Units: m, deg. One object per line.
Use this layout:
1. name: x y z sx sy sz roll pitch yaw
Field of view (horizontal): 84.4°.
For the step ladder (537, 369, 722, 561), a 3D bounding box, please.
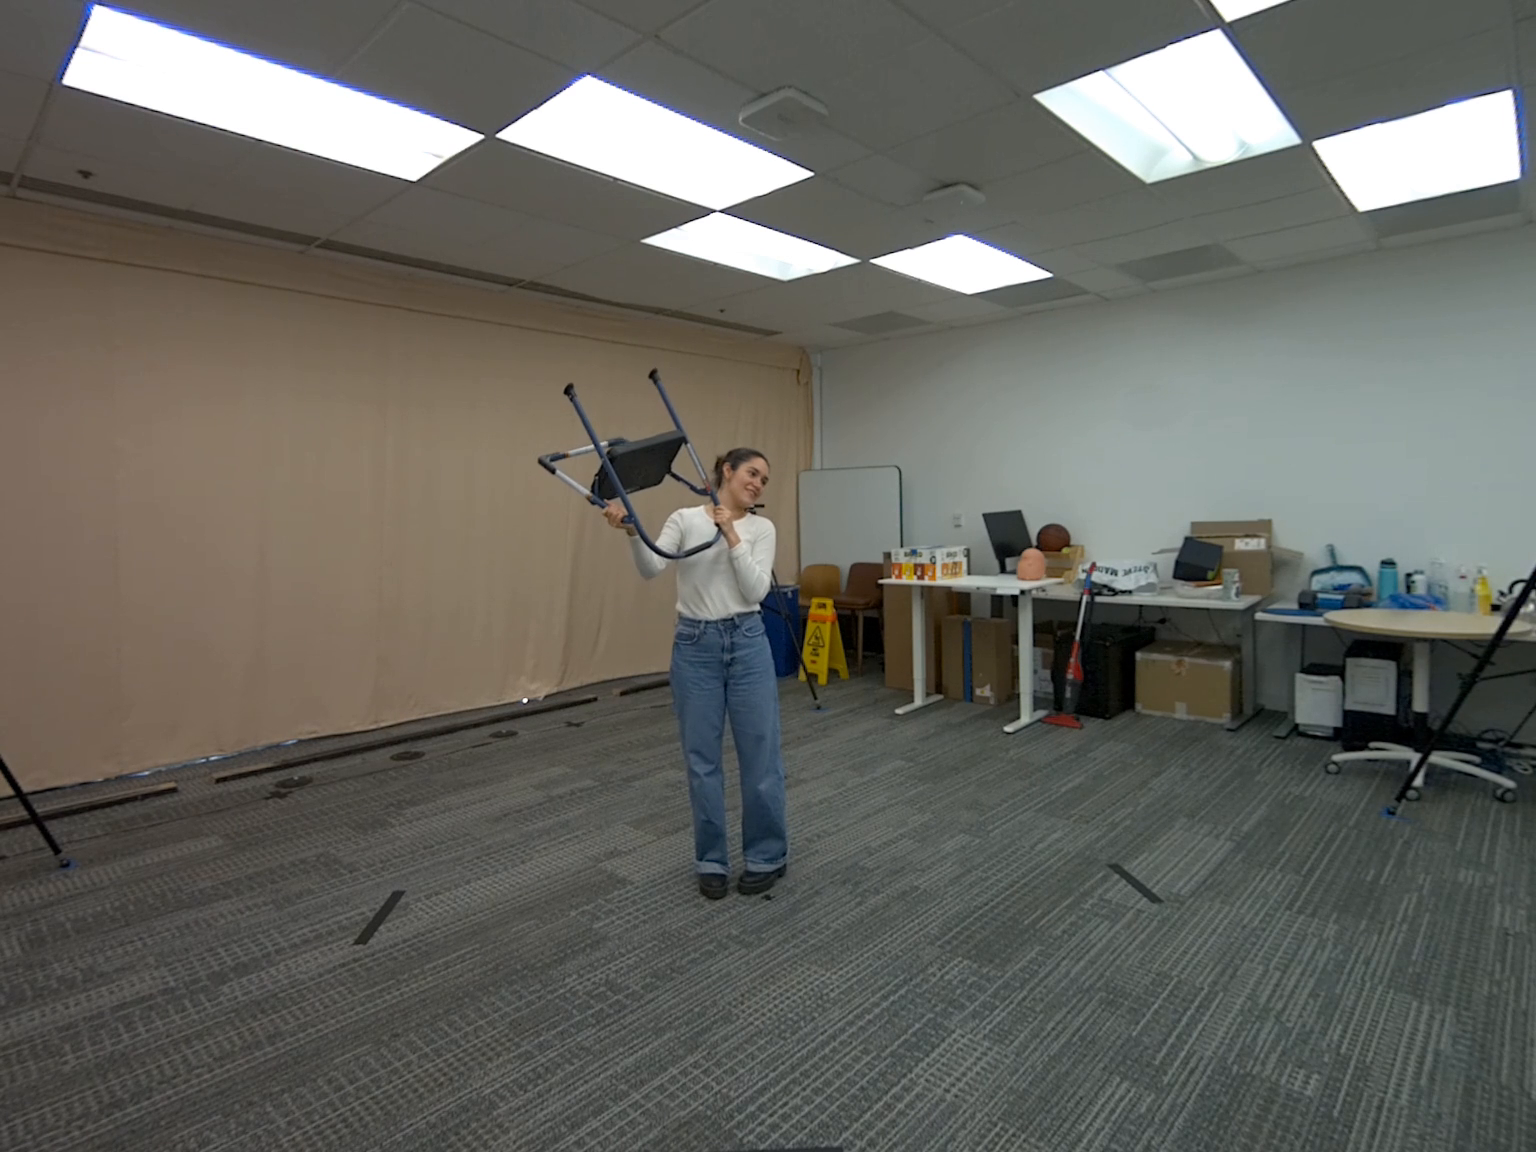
1. step ladder: -0.393 -0.347 2.838 0.421 0.618 0.350 -24 -24 -47
